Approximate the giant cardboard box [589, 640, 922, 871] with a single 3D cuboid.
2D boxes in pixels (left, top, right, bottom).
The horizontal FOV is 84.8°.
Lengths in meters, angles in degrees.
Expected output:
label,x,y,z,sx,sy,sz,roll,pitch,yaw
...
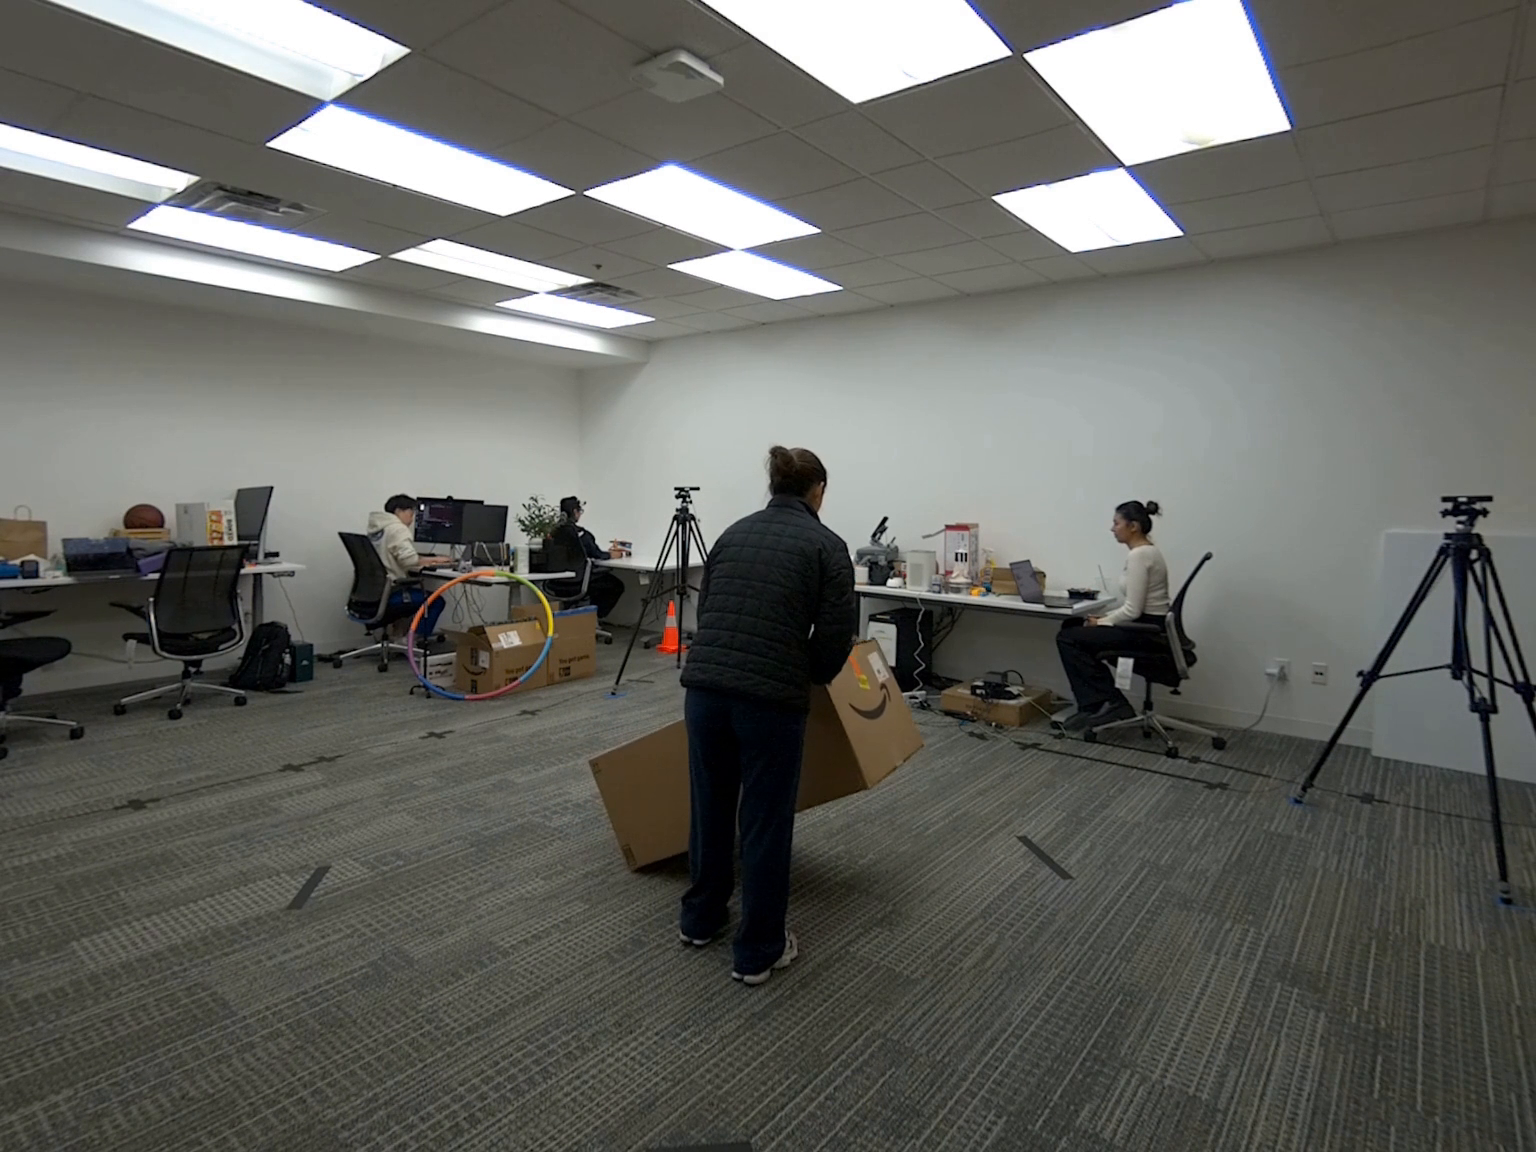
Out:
label,x,y,z,sx,sy,sz,roll,pitch,yaw
giant cardboard box,-0.038,0.641,3.128,1.038,0.432,0.563,-28,-10,28
